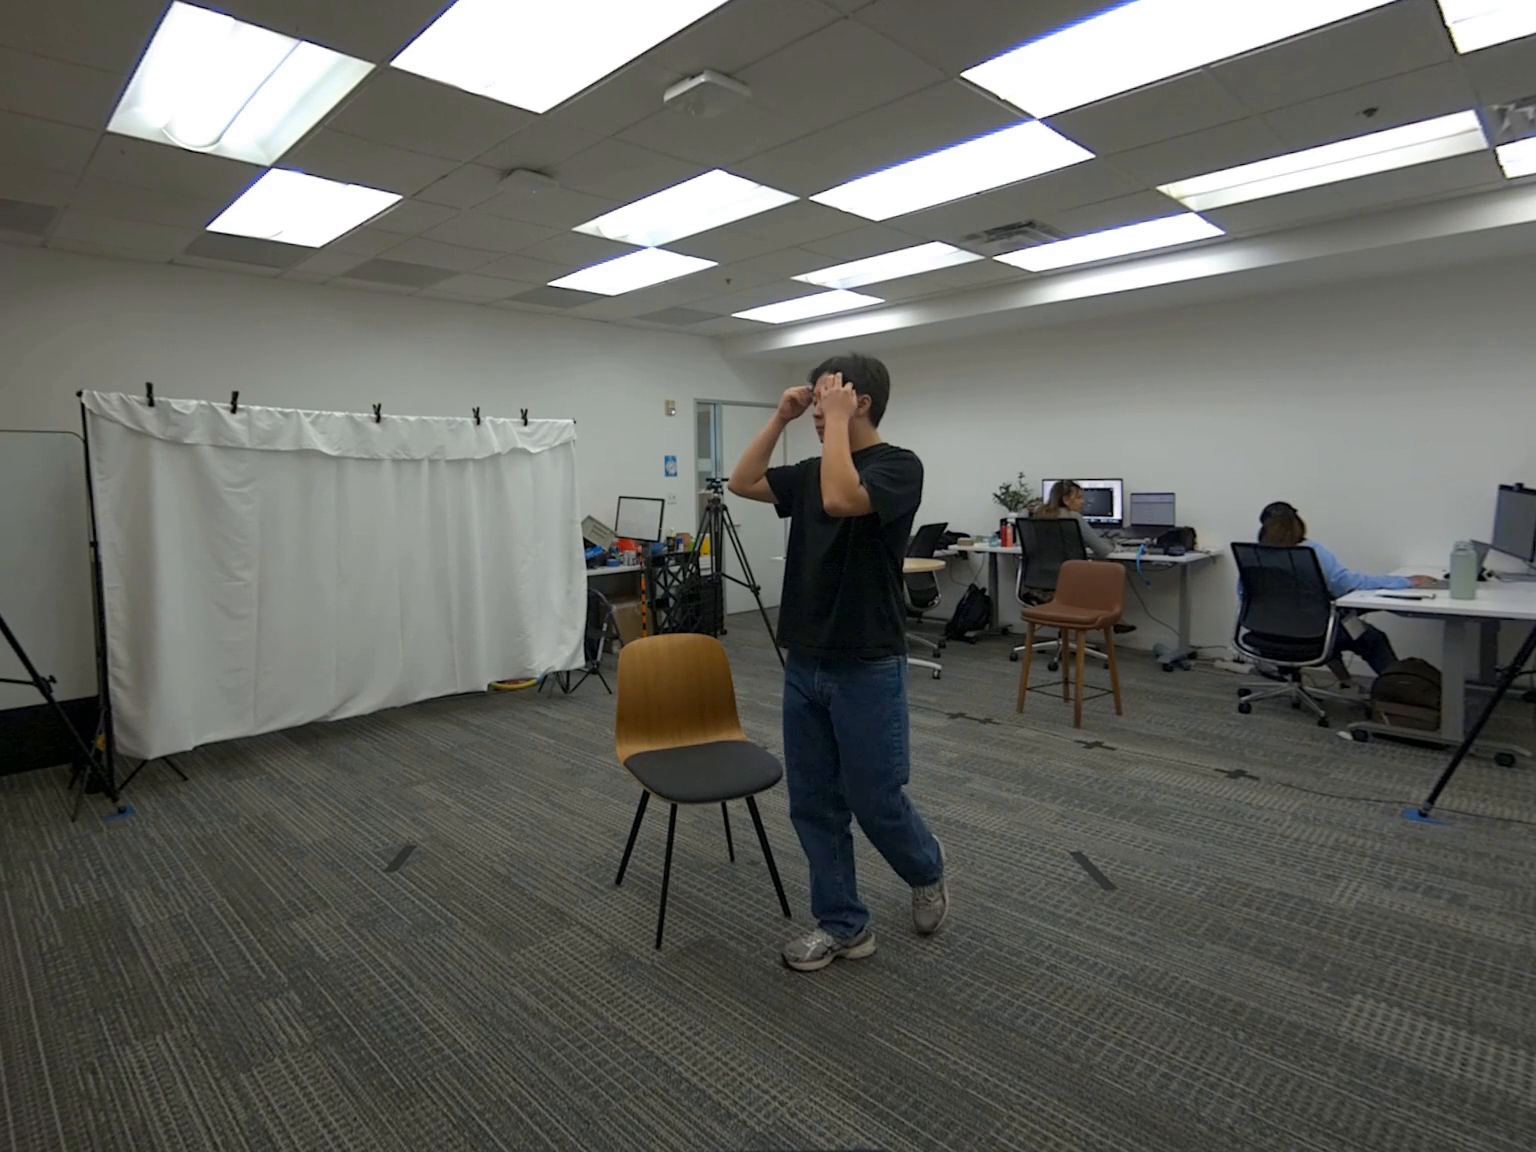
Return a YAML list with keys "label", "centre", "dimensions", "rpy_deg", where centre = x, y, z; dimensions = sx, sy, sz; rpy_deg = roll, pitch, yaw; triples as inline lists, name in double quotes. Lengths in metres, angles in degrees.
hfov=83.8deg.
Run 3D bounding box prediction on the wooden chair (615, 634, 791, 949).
- label: "wooden chair"
  centre: [-0.232, 0.654, 2.800]
  dimensions: [0.468, 0.877, 0.534]
  rpy_deg: [-3, 1, -25]
